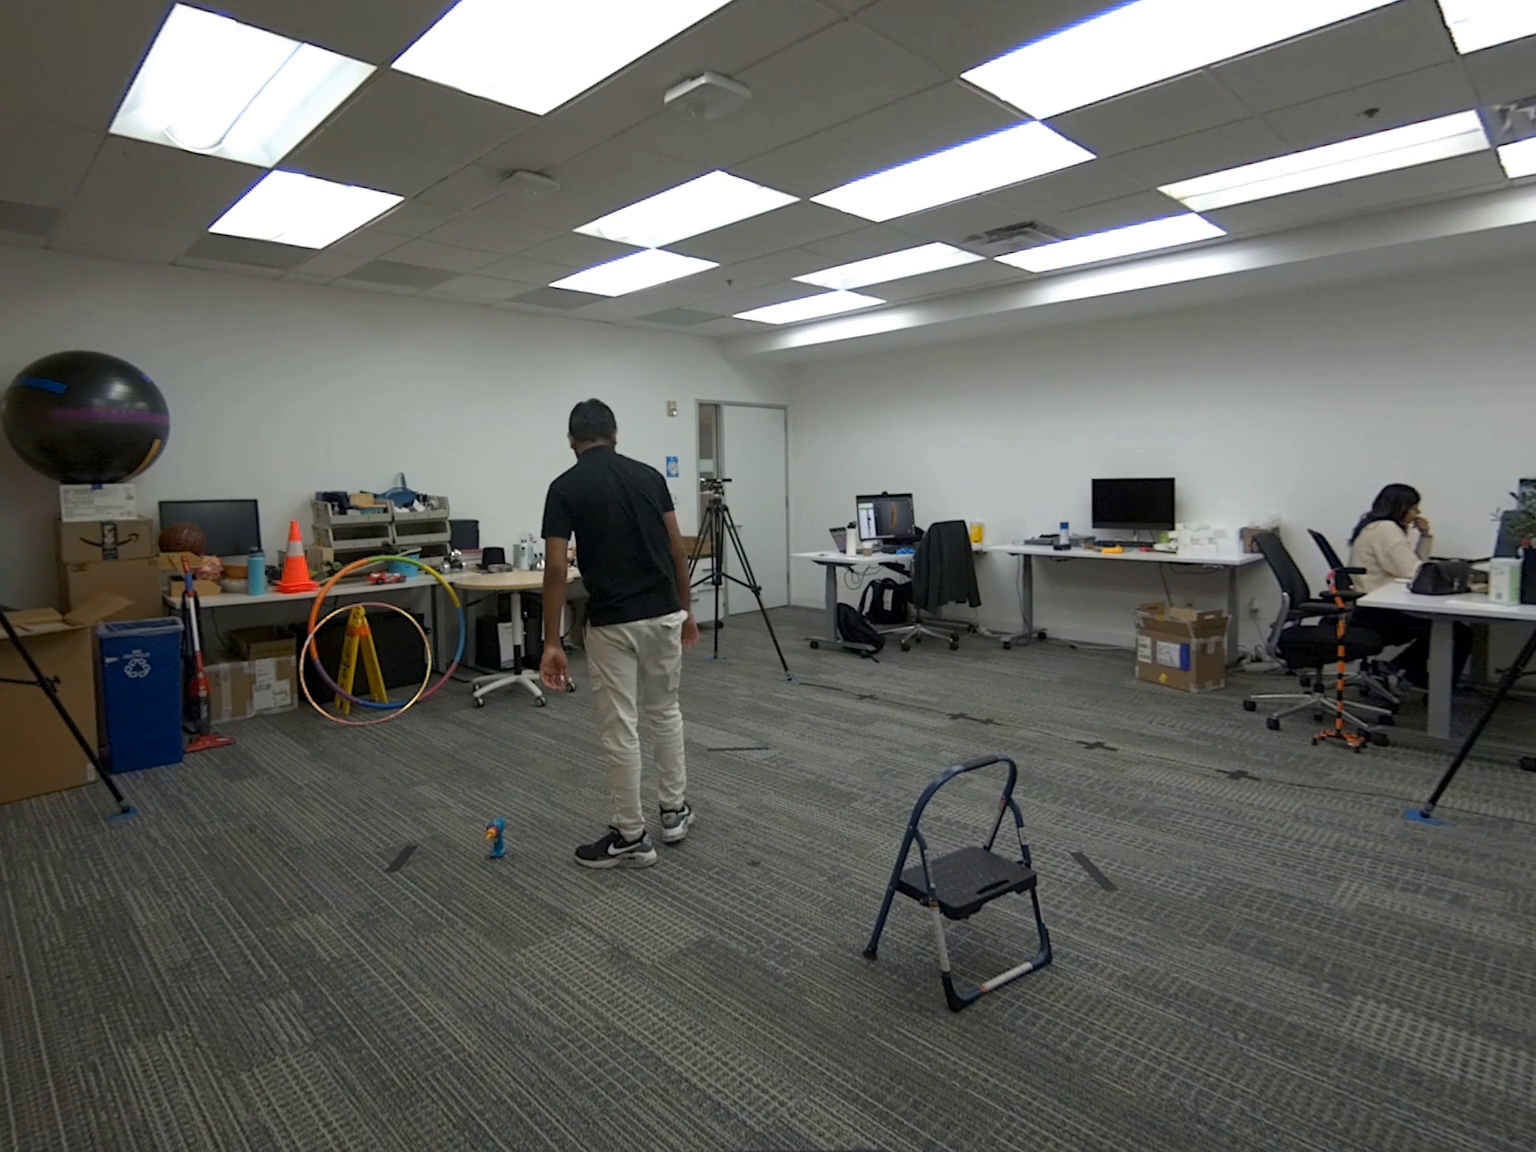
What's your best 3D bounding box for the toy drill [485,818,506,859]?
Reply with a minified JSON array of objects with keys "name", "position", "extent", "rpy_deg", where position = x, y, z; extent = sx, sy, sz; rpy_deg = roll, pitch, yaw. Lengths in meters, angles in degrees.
[{"name":"toy drill","position":[-1.020,0.984,3.183],"extent":[0.061,0.145,0.170],"rpy_deg":[-2,4,2]}]
